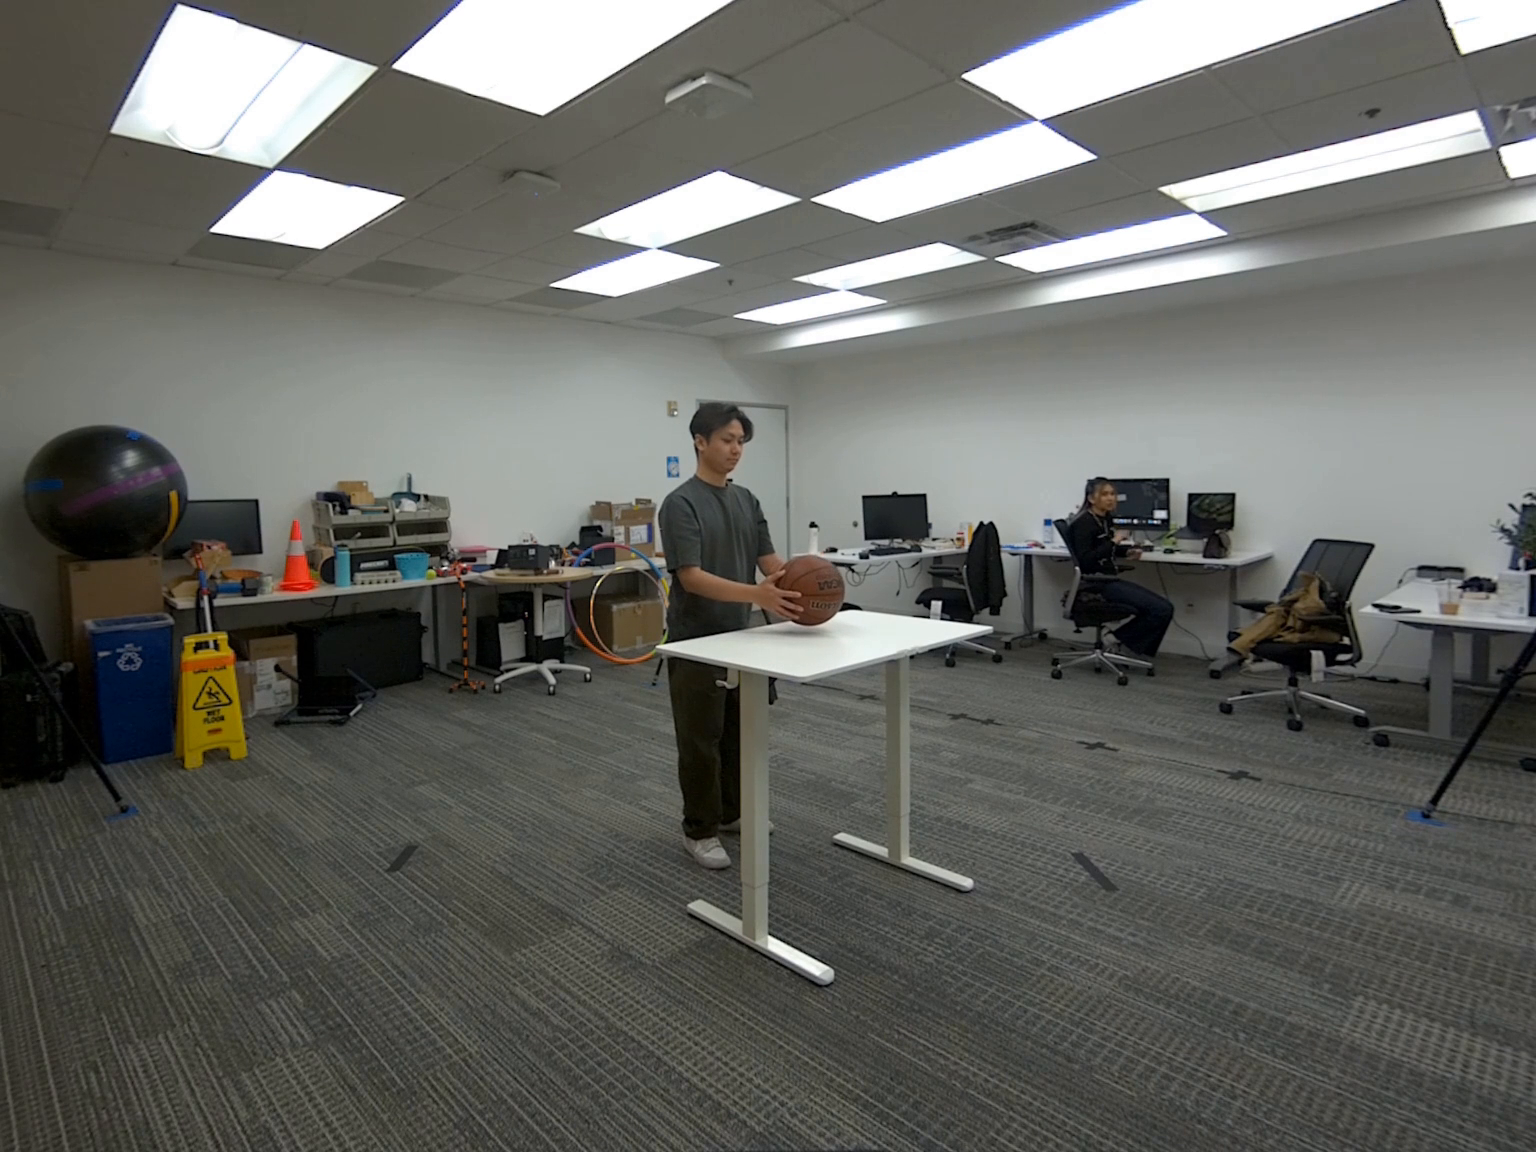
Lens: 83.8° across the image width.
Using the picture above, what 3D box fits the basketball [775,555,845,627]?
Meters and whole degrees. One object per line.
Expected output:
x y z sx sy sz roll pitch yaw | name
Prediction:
0.135 0.046 2.864 0.236 0.235 0.237 -1 5 -2 | basketball
